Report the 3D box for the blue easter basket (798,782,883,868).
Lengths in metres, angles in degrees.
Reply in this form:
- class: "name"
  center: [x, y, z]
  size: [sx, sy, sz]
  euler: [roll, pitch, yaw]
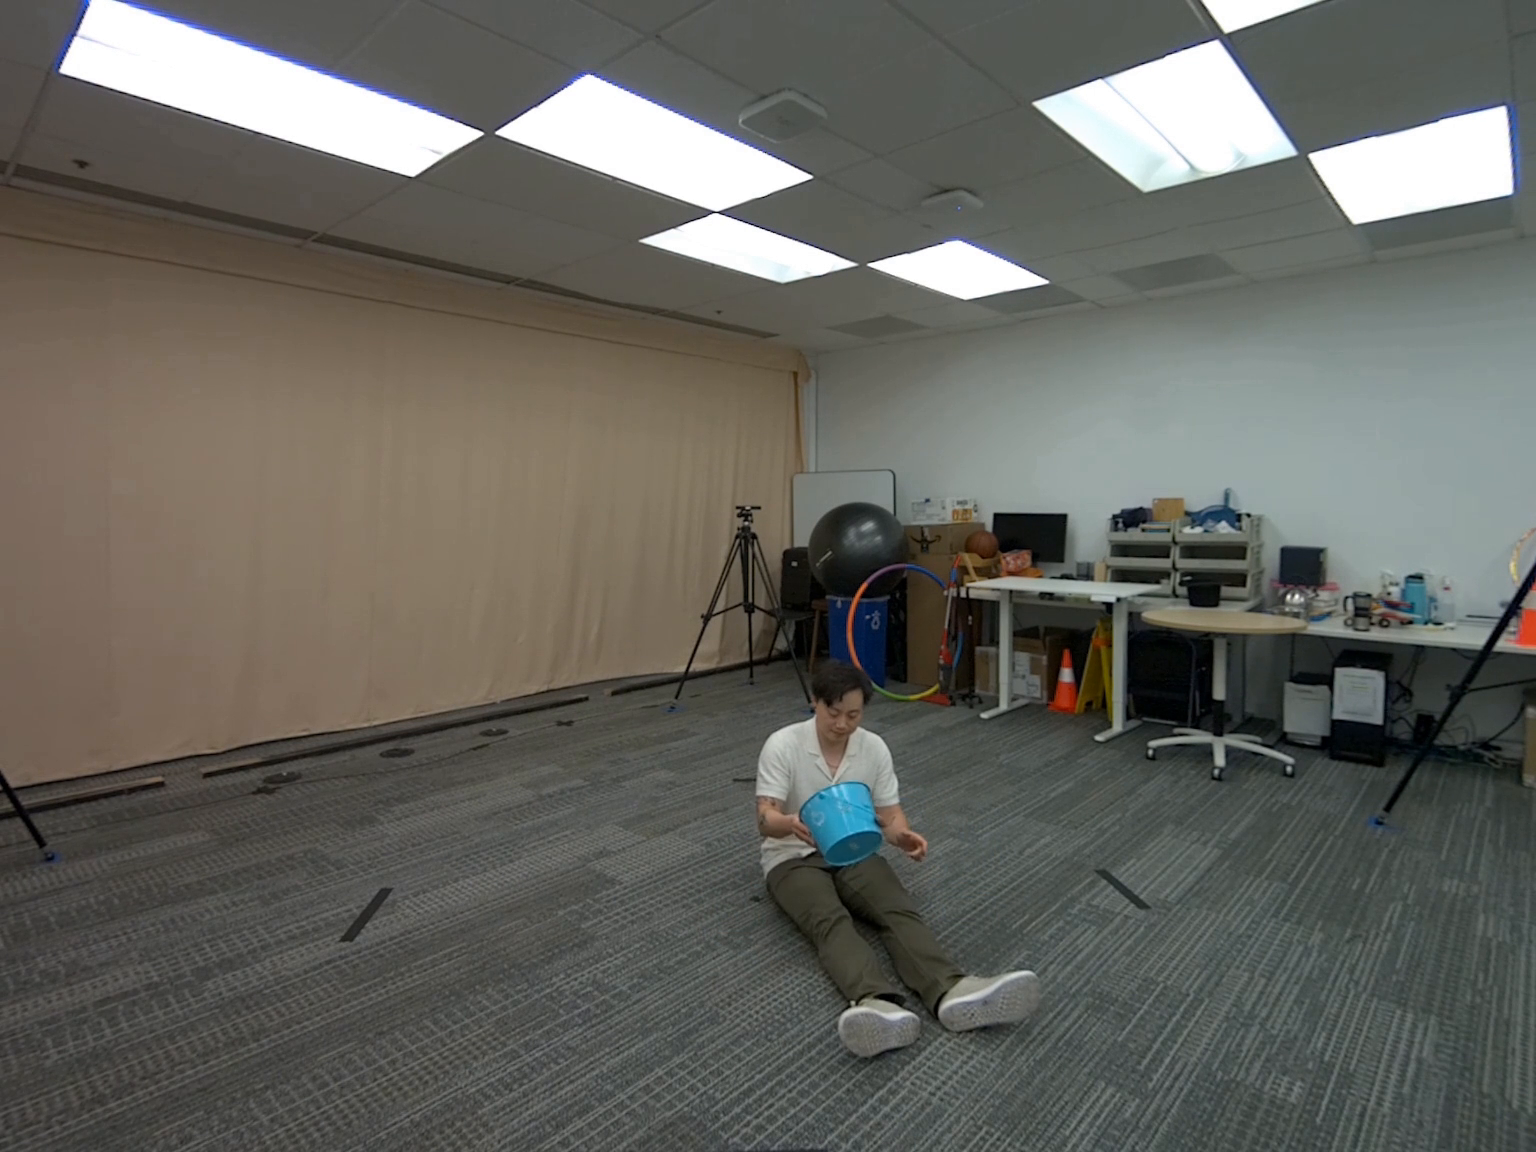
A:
- class: "blue easter basket"
  center: [0.233, 0.749, 2.514]
  size: [0.238, 0.241, 0.160]
  euler: [-1, 41, -22]
